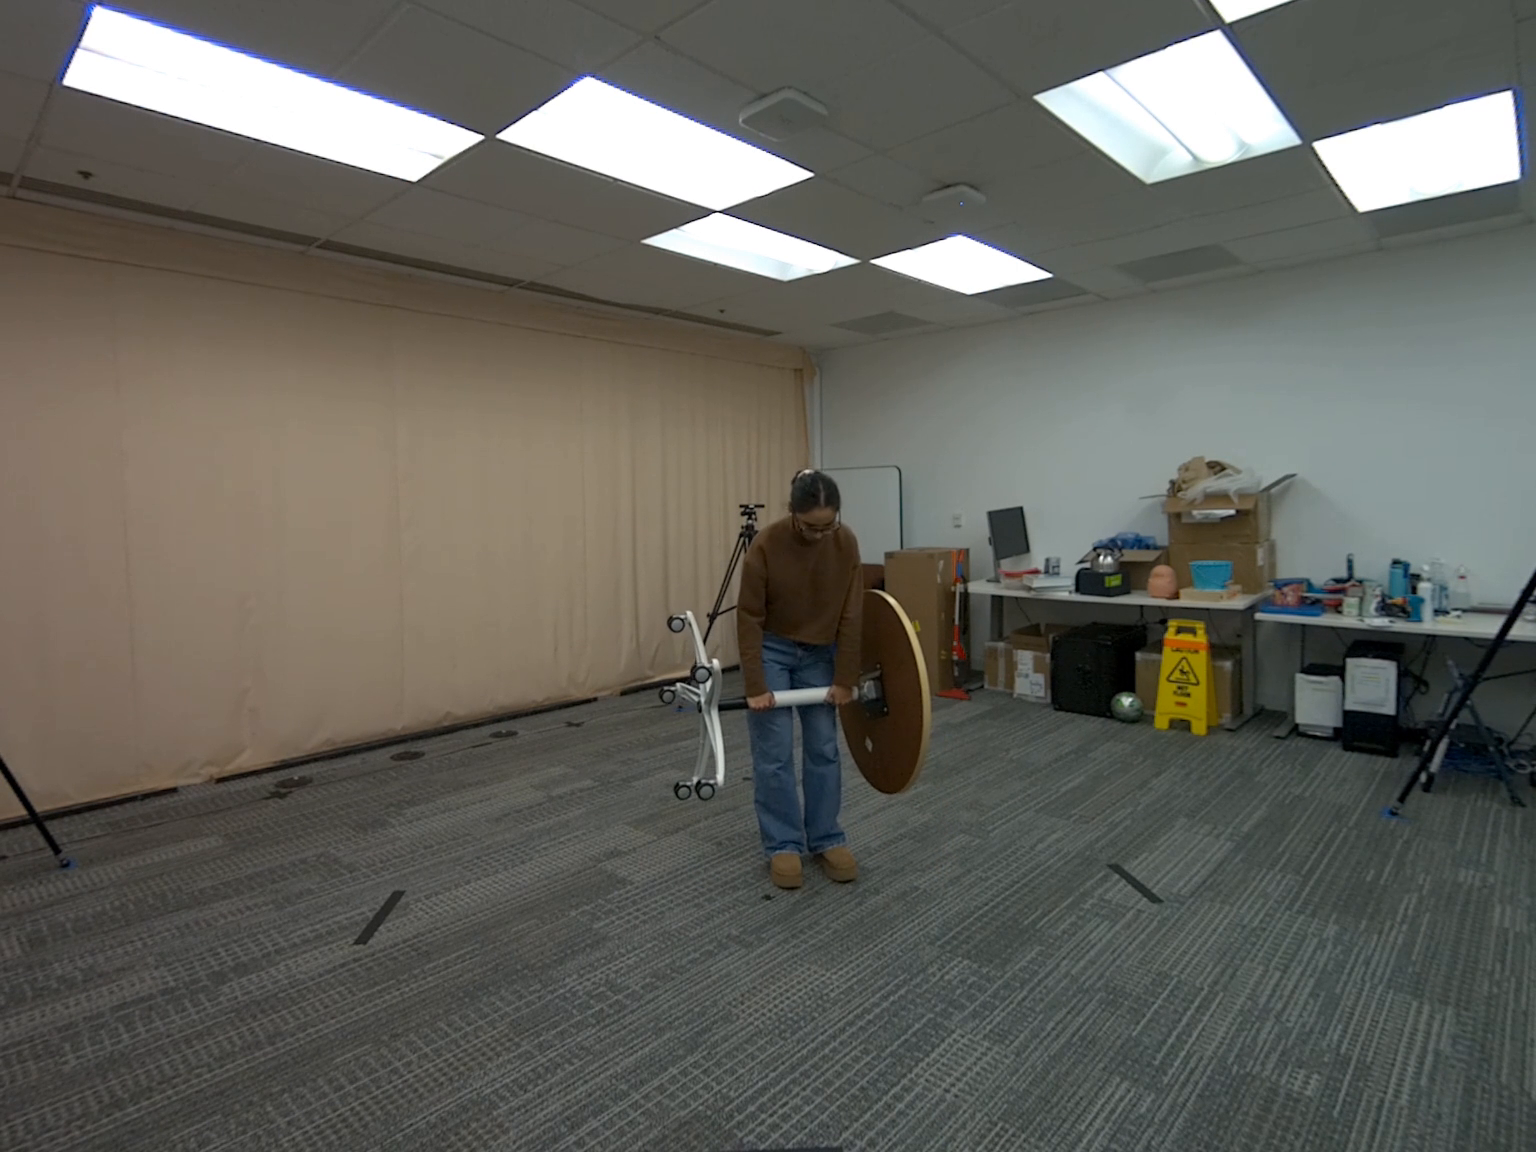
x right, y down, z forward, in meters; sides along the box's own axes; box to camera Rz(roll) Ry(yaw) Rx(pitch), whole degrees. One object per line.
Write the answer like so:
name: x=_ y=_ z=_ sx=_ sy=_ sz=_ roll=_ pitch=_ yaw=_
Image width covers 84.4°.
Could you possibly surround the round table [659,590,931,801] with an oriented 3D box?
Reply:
round table: x=0.059 y=0.468 z=3.122 sx=0.781 sy=0.762 sz=0.779 roll=-4 pitch=5 yaw=-17
